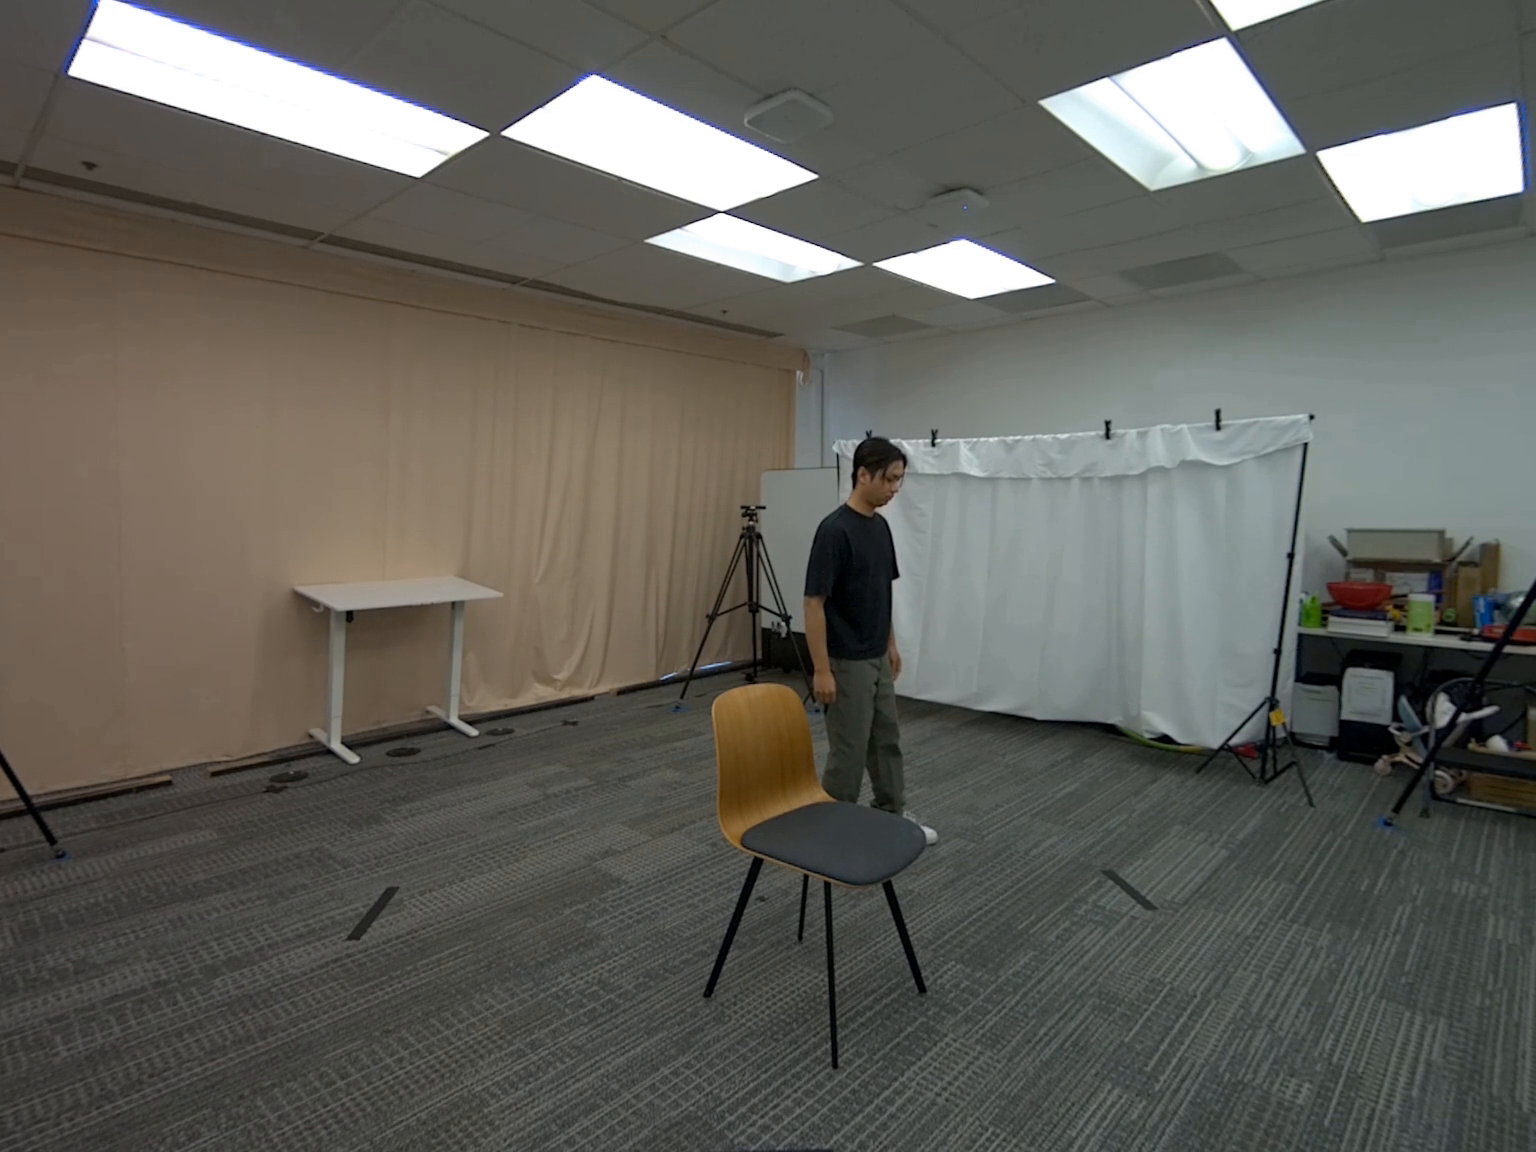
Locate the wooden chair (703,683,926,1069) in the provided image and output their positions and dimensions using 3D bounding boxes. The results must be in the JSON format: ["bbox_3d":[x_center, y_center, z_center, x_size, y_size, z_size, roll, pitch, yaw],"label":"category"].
[{"bbox_3d":[0.144,0.771,2.358,0.539,0.877,0.463,-3,0,42],"label":"wooden chair"}]
